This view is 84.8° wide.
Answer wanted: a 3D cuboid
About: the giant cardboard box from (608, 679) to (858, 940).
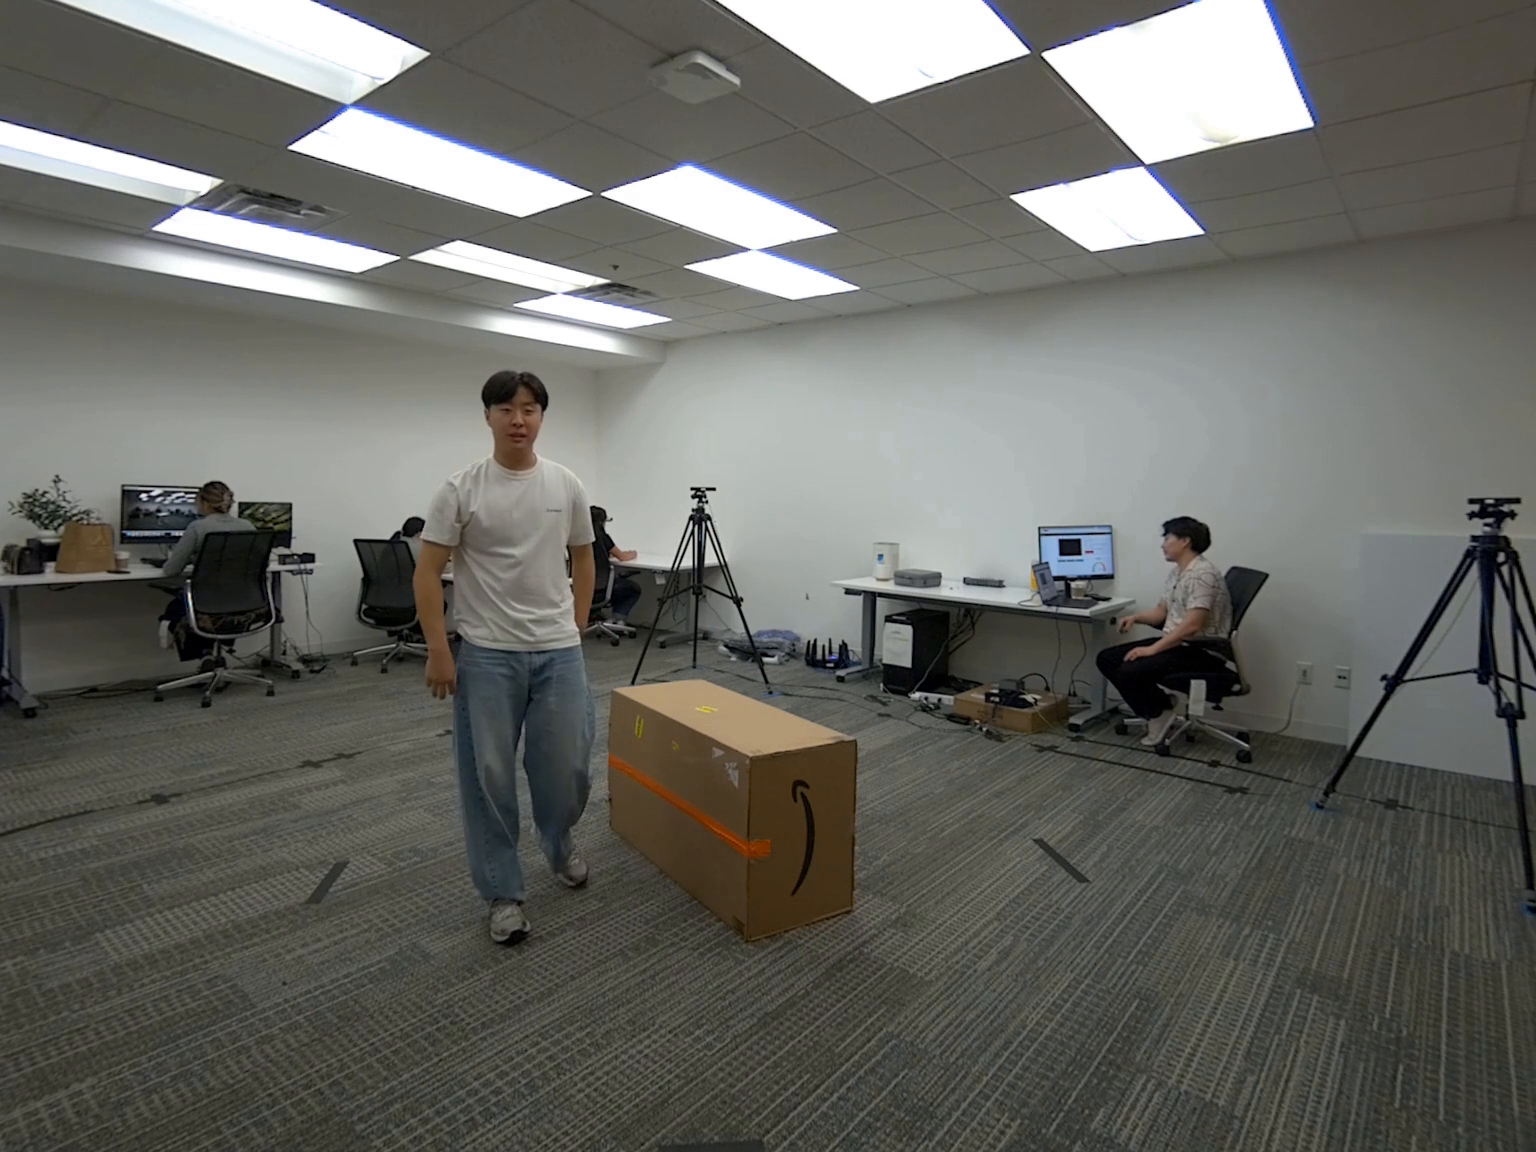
[{"bbox_3d":[-0.187,0.777,3.124,0.414,0.576,1.059,-1,5,-34],"label":"giant cardboard box"}]
